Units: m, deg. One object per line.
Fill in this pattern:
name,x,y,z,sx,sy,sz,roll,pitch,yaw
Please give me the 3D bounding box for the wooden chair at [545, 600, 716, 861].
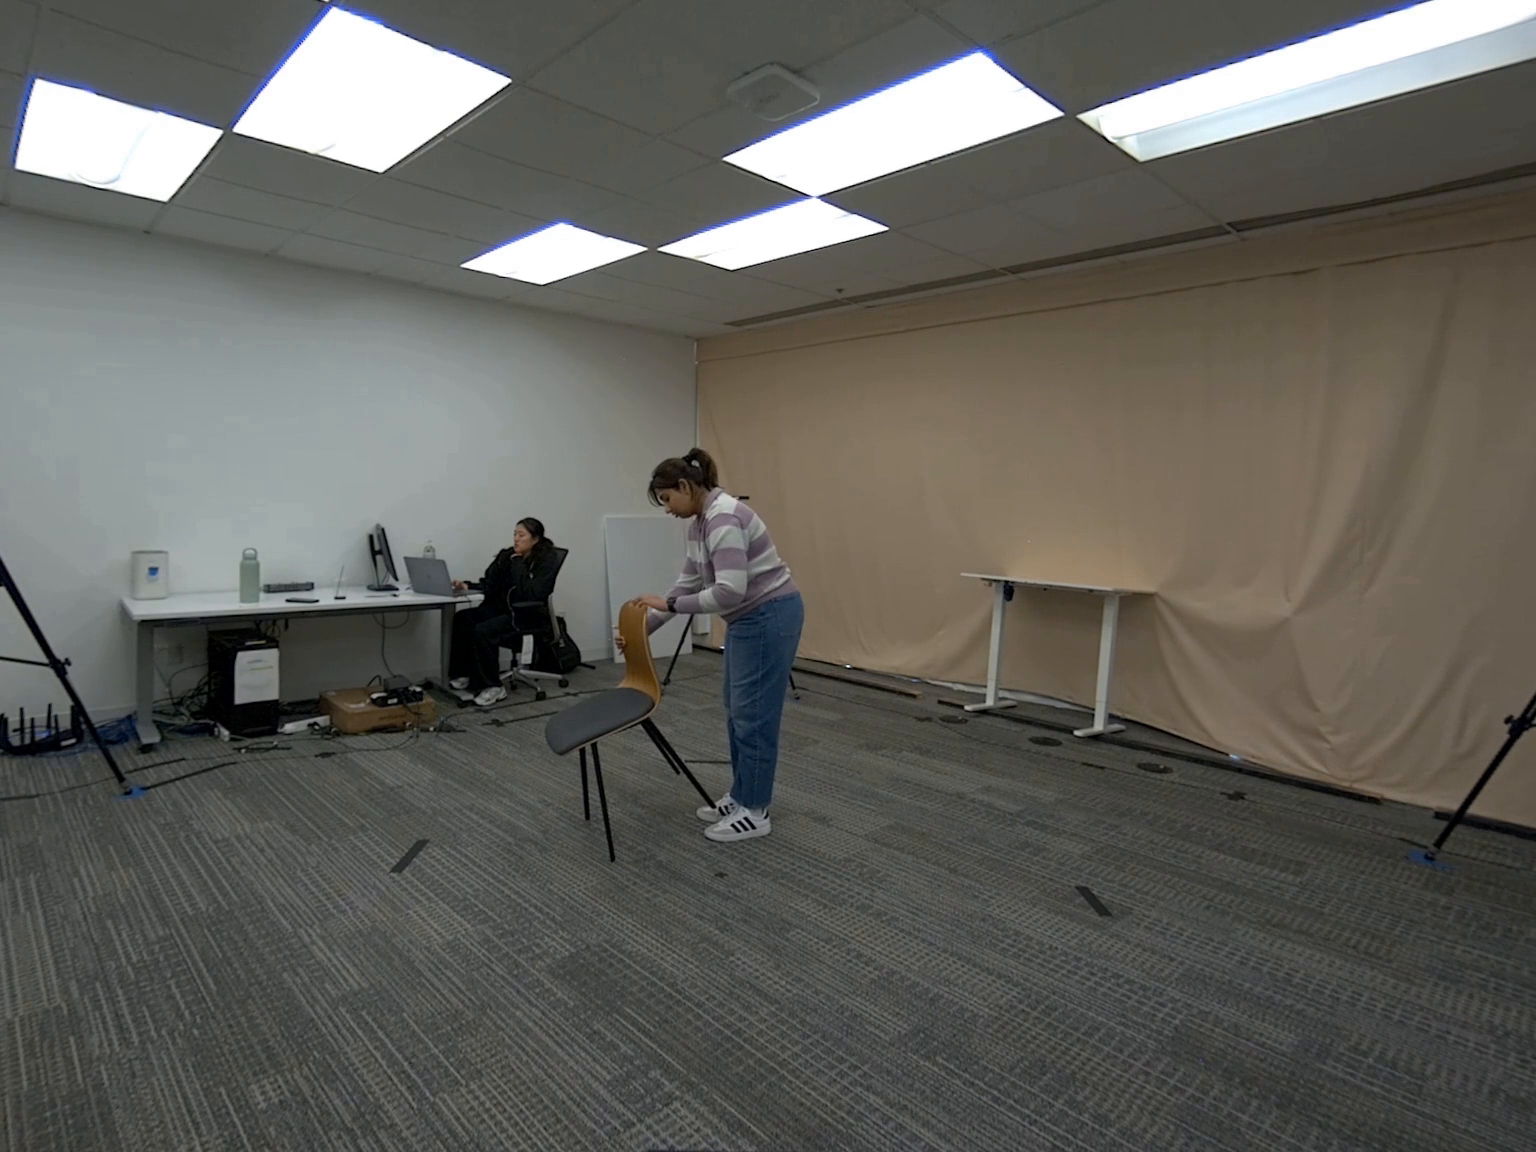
wooden chair,-0.634,0.592,3.378,0.517,0.870,0.487,-17,10,-21
